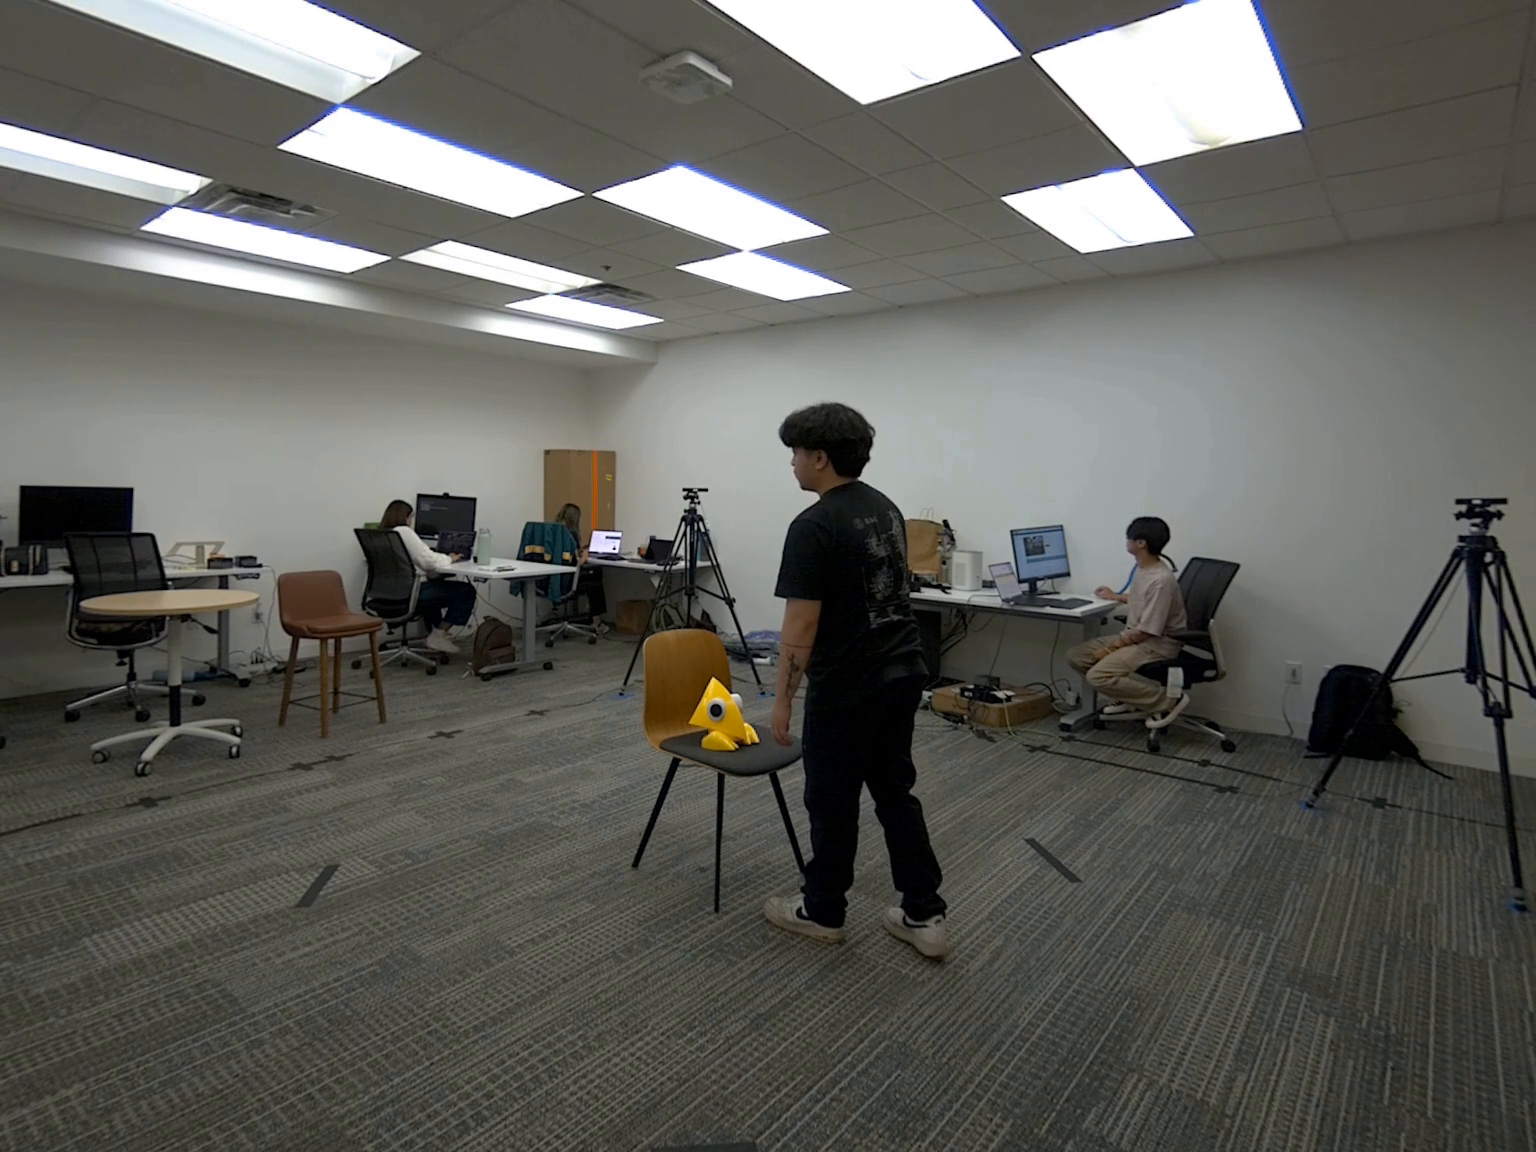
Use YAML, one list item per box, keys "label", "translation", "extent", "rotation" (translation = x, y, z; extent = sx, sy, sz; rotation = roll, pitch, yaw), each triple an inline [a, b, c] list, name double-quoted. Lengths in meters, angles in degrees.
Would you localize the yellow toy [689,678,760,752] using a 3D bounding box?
- label: "yellow toy"
  translation: [-0.159, 0.485, 3.057]
  extent: [0.199, 0.231, 0.198]
  rotation: [-2, 0, 44]
